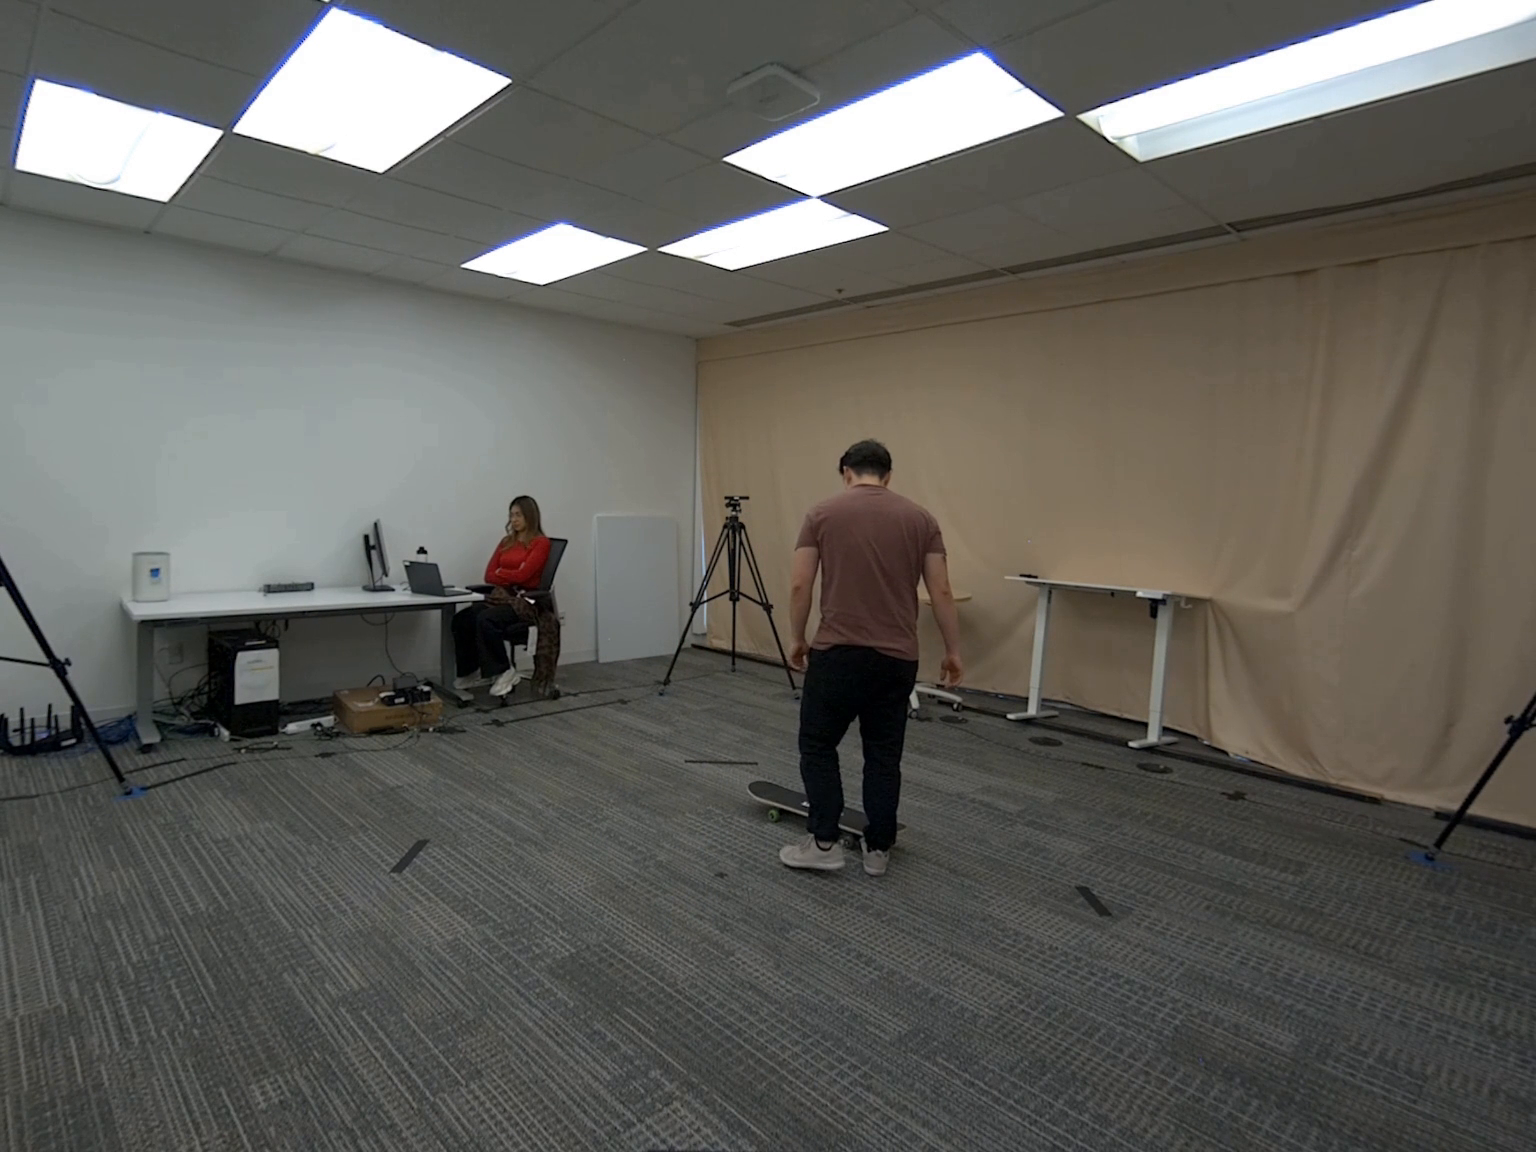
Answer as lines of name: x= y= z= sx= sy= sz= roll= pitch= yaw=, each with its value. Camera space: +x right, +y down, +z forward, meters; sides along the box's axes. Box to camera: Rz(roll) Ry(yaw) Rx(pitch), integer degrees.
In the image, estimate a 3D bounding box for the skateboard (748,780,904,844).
skateboard: x=0.221 y=1.020 z=3.565 sx=0.805 sy=0.110 sz=0.189 roll=6 pitch=7 yaw=41
